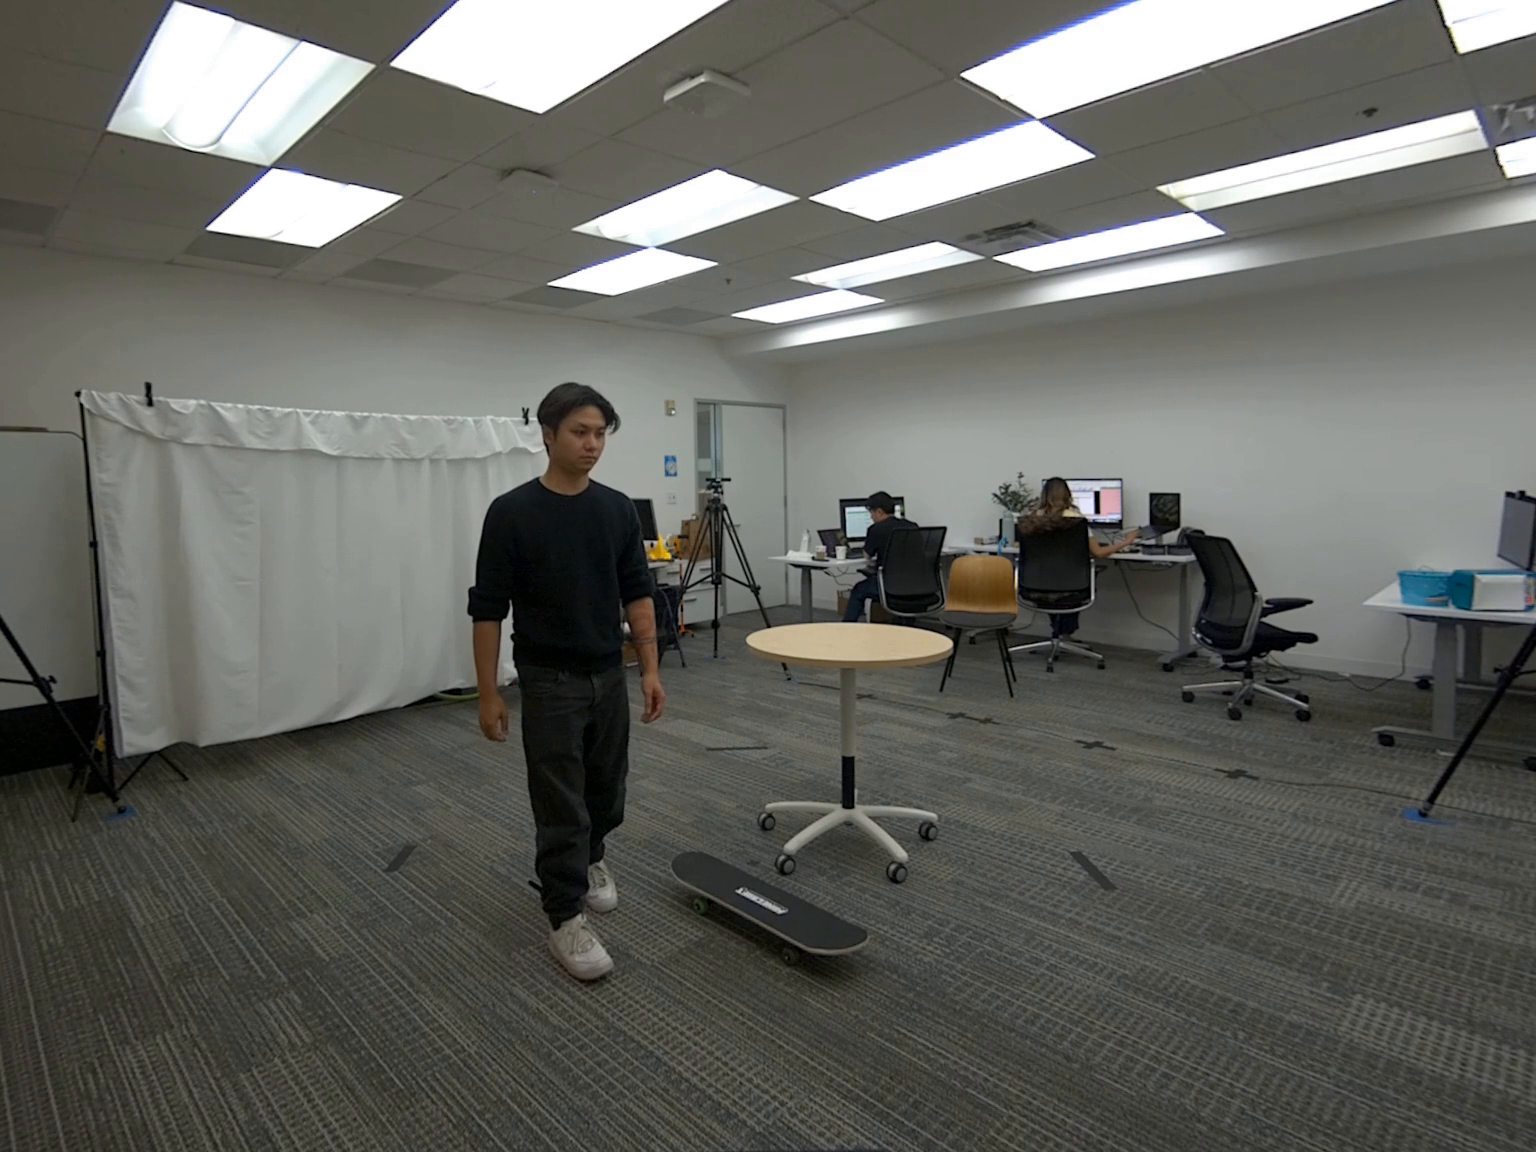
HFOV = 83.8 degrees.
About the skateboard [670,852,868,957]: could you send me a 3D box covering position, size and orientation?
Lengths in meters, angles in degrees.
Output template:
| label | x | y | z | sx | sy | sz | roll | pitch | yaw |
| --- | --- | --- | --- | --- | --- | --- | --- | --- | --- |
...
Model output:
| label | x | y | z | sx | sy | sz | roll | pitch | yaw |
| --- | --- | --- | --- | --- | --- | --- | --- | --- | --- |
| skateboard | -0.023 | 1.042 | 2.648 | 0.188 | 0.110 | 0.810 | -7 | 9 | -43 |
